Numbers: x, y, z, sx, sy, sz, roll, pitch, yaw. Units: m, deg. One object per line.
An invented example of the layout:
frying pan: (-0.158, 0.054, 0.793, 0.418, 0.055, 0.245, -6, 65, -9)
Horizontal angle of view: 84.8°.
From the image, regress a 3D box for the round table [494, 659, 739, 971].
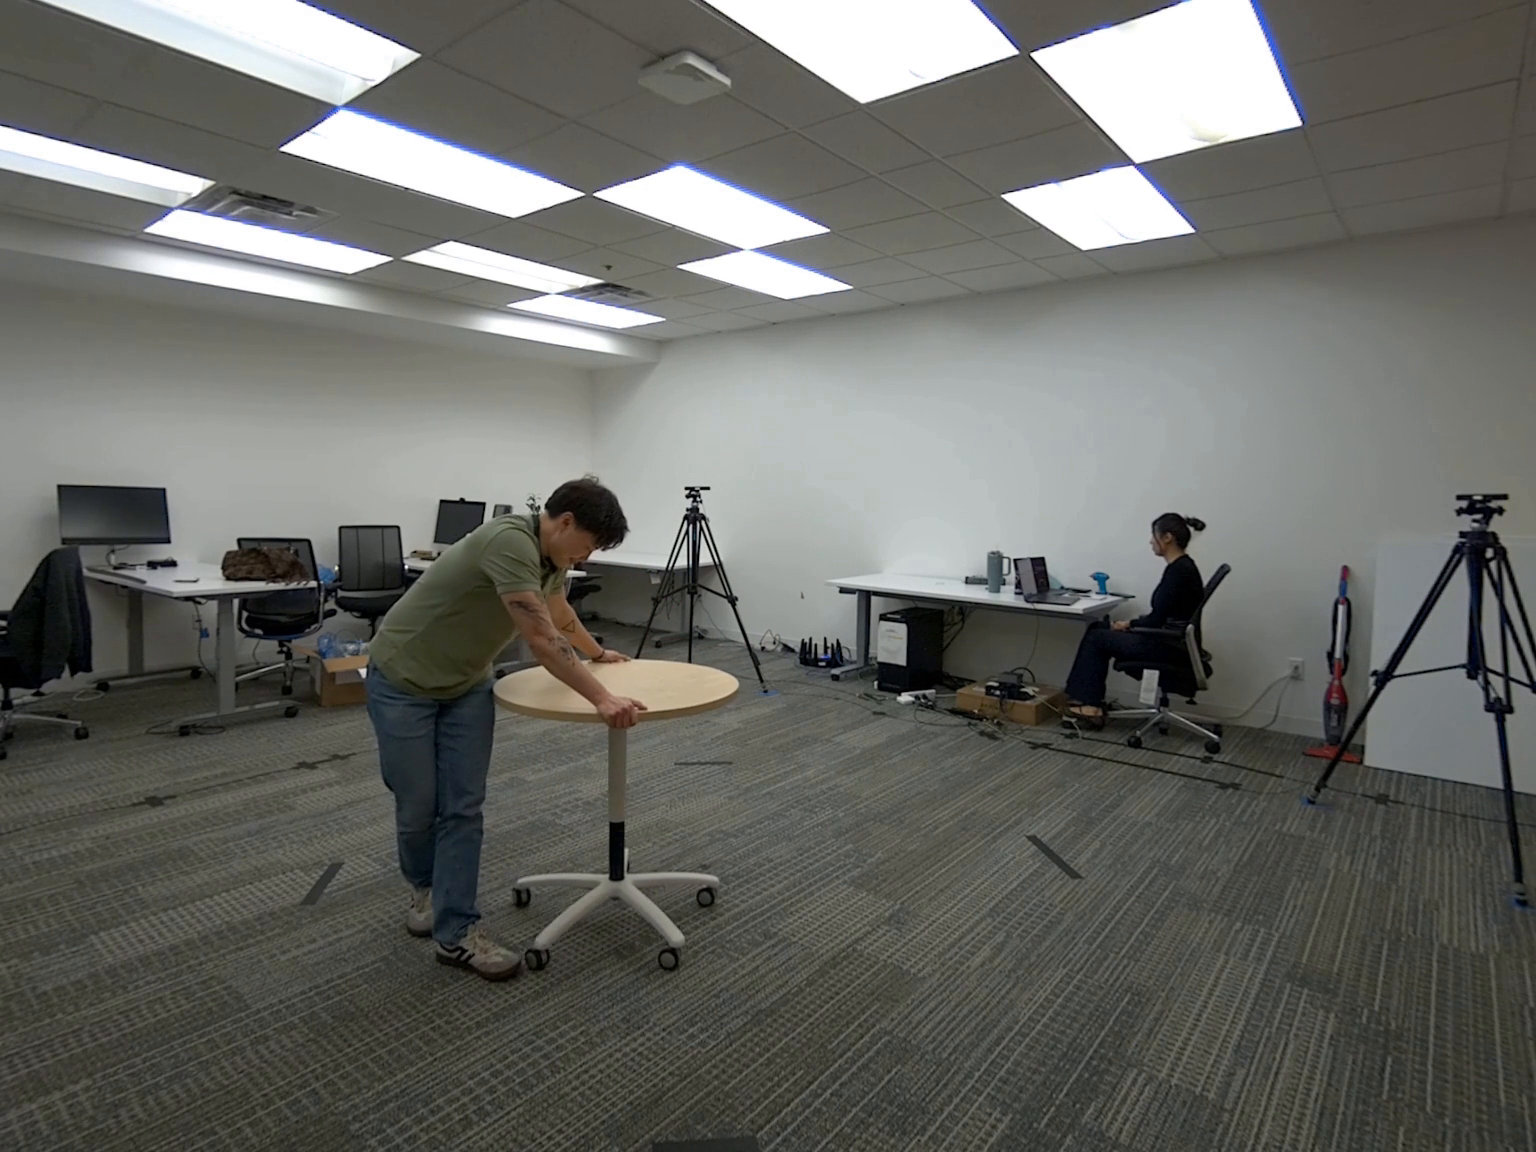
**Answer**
round table: (-0.493, 0.721, 2.700, 0.763, 0.791, 0.768, 0, 4, -2)
